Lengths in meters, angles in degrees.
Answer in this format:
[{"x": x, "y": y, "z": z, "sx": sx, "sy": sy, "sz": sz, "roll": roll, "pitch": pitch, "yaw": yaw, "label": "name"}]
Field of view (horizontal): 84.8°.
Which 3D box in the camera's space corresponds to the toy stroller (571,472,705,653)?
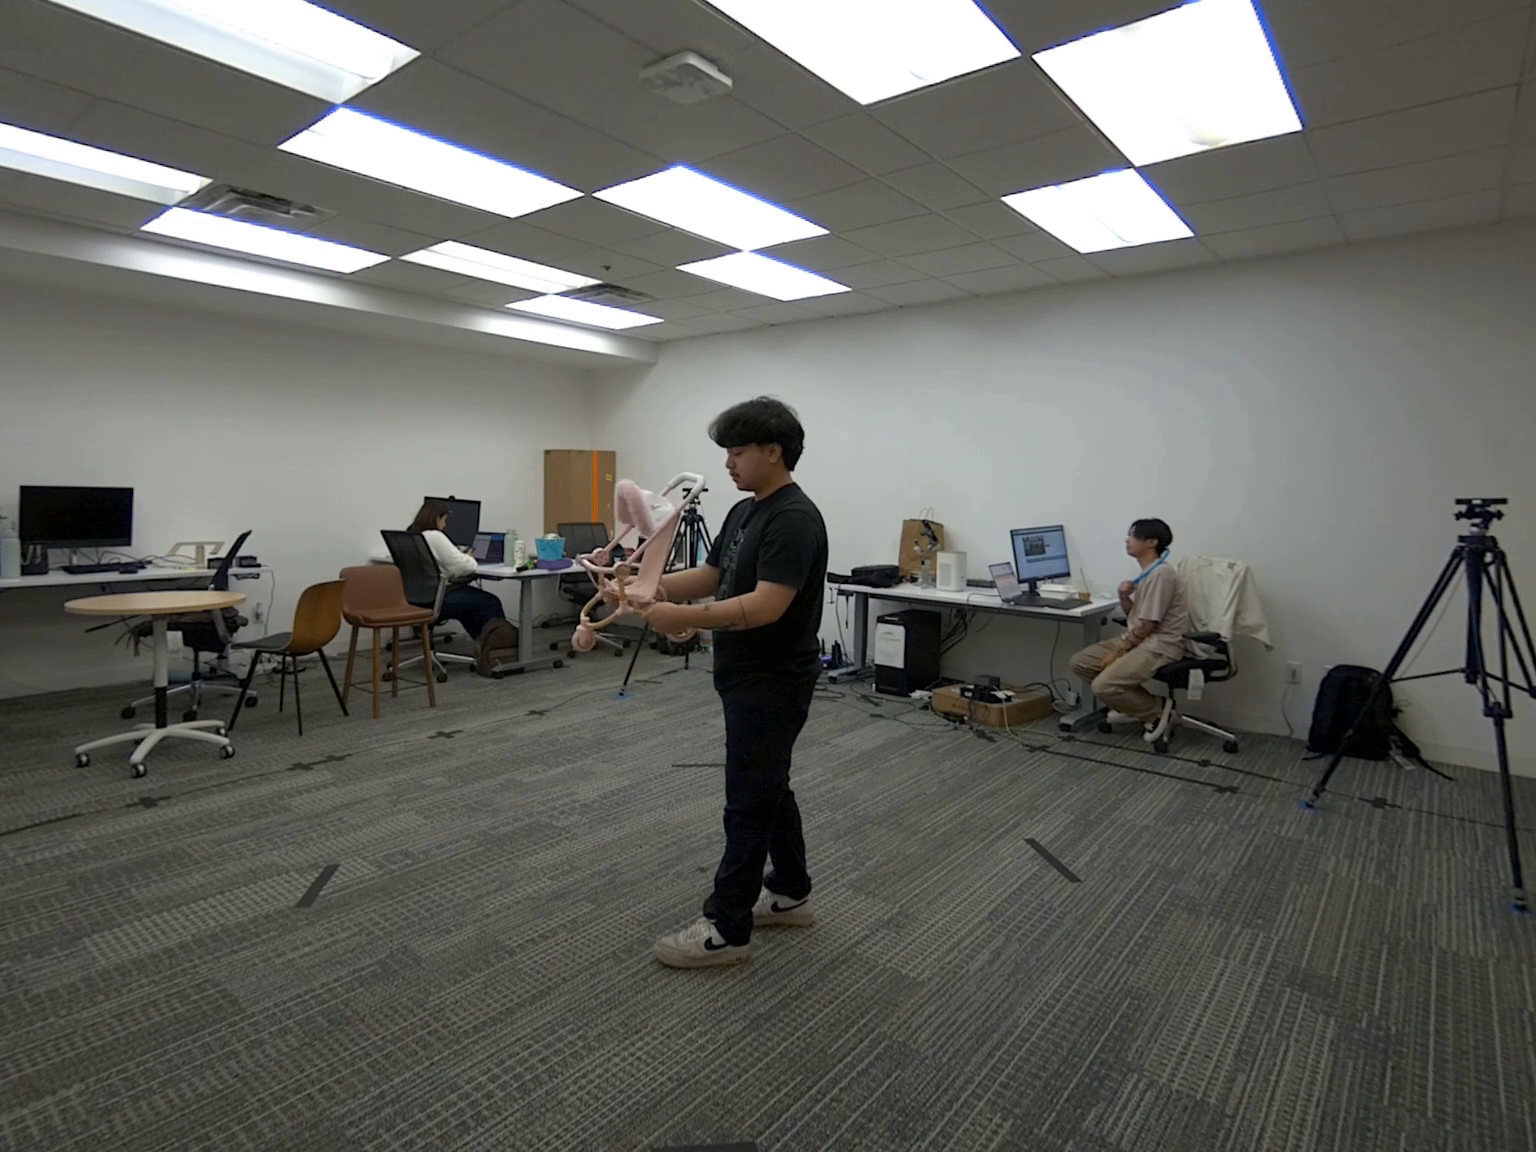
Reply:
[{"x": -0.401, "y": -0.040, "z": 2.471, "sx": 0.333, "sy": 0.530, "sz": 0.290, "roll": 2, "pitch": 11, "yaw": -23, "label": "toy stroller"}]
